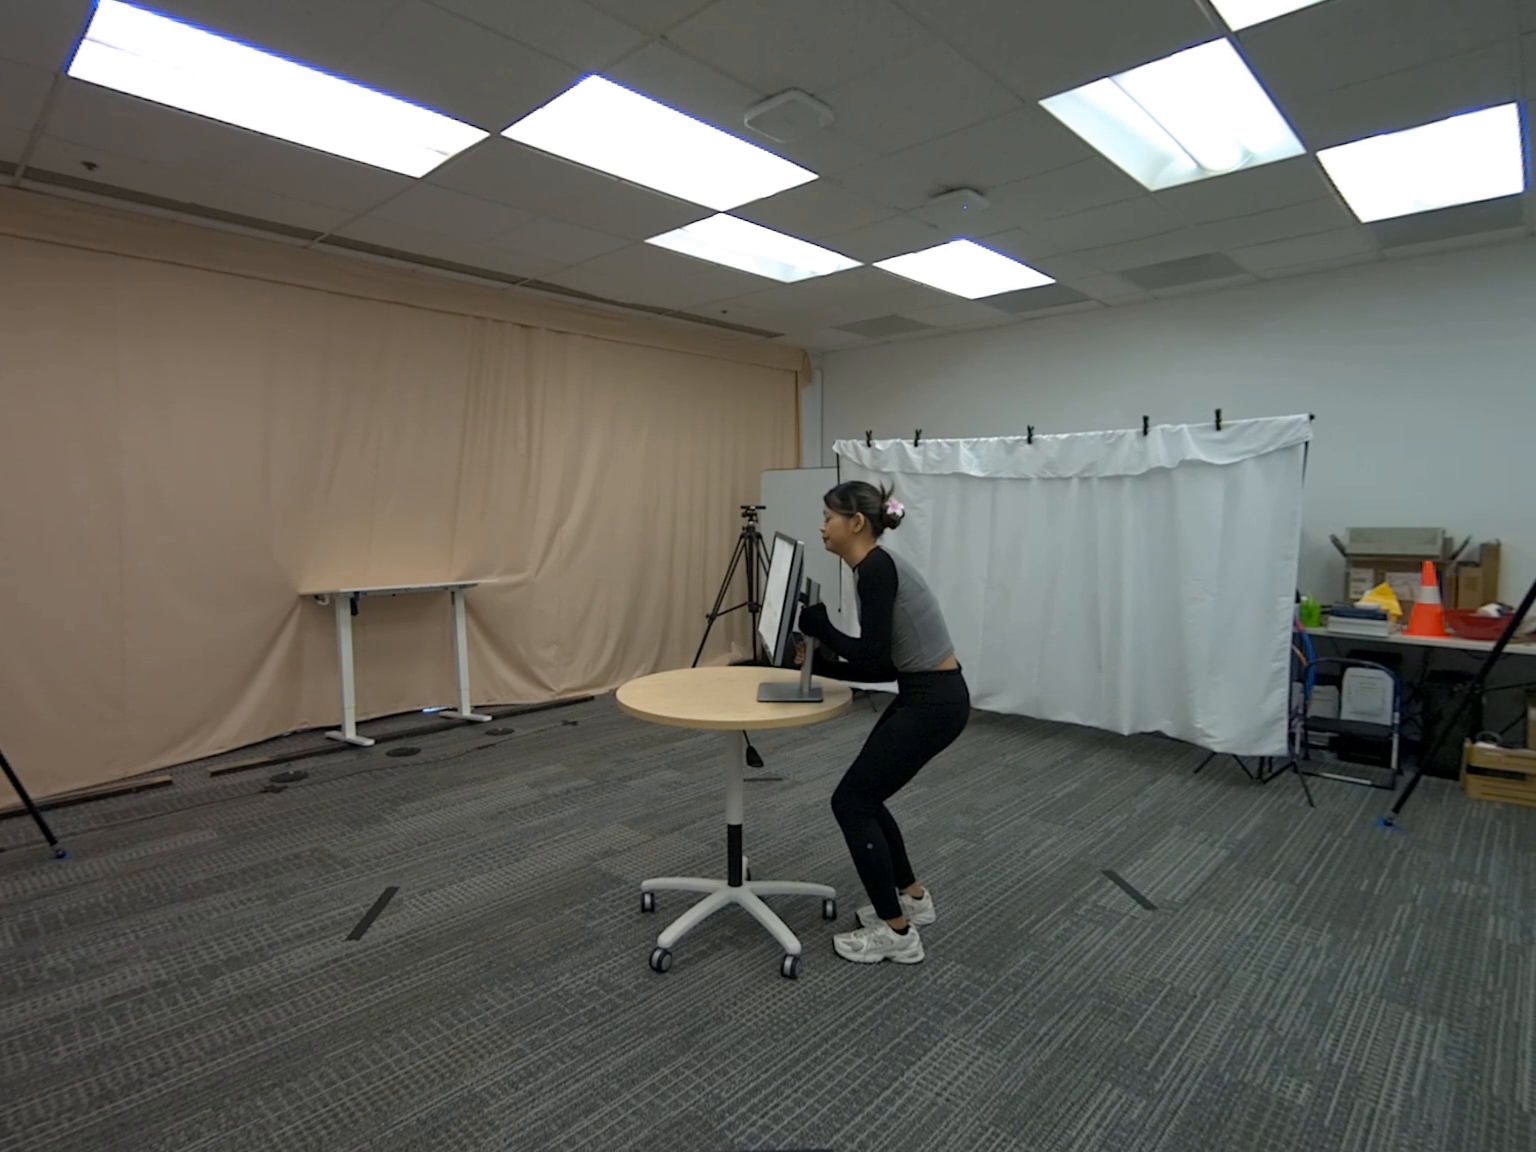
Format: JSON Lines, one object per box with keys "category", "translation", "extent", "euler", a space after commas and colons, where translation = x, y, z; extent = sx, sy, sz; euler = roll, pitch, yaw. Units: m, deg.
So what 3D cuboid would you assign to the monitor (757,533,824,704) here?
{"category": "monitor", "translation": [0.075, 0.132, 2.682], "extent": [0.186, 0.521, 0.543], "euler": [-1, 5, -6]}
